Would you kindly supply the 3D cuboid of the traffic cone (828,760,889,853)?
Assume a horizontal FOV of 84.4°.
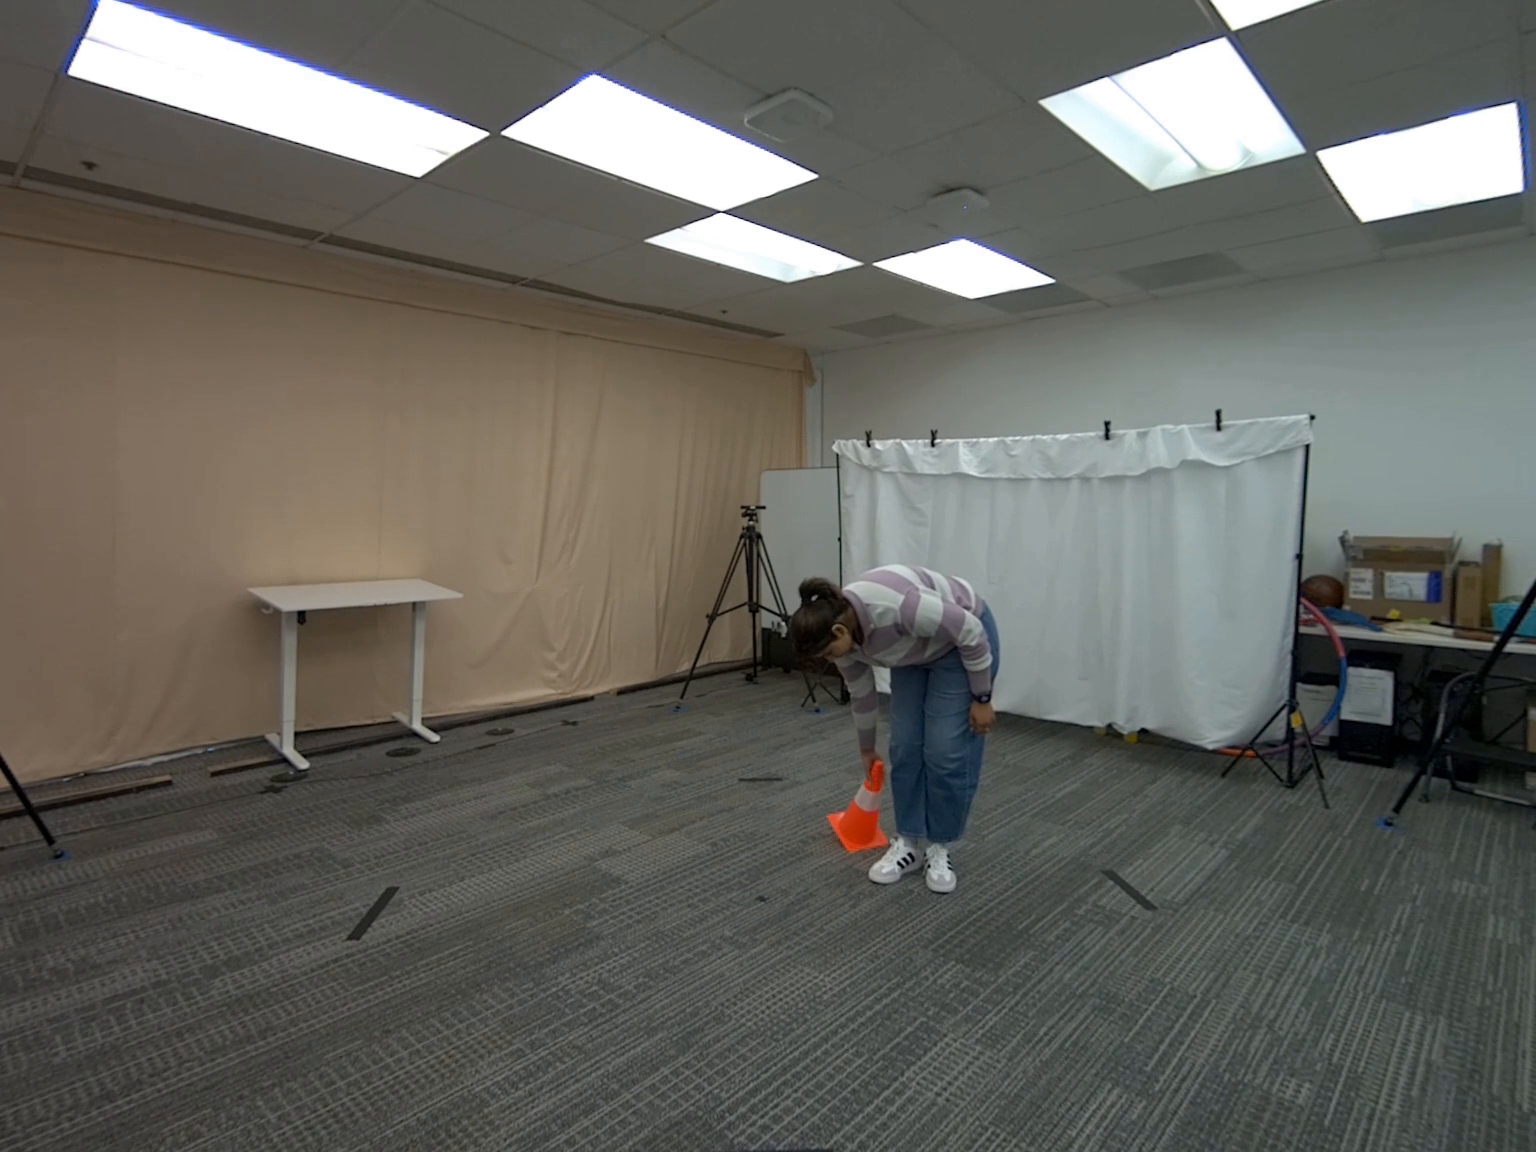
[{"bbox_3d":[0.417,0.899,3.413,0.200,0.379,0.210,-3,34,-24],"label":"traffic cone"}]
